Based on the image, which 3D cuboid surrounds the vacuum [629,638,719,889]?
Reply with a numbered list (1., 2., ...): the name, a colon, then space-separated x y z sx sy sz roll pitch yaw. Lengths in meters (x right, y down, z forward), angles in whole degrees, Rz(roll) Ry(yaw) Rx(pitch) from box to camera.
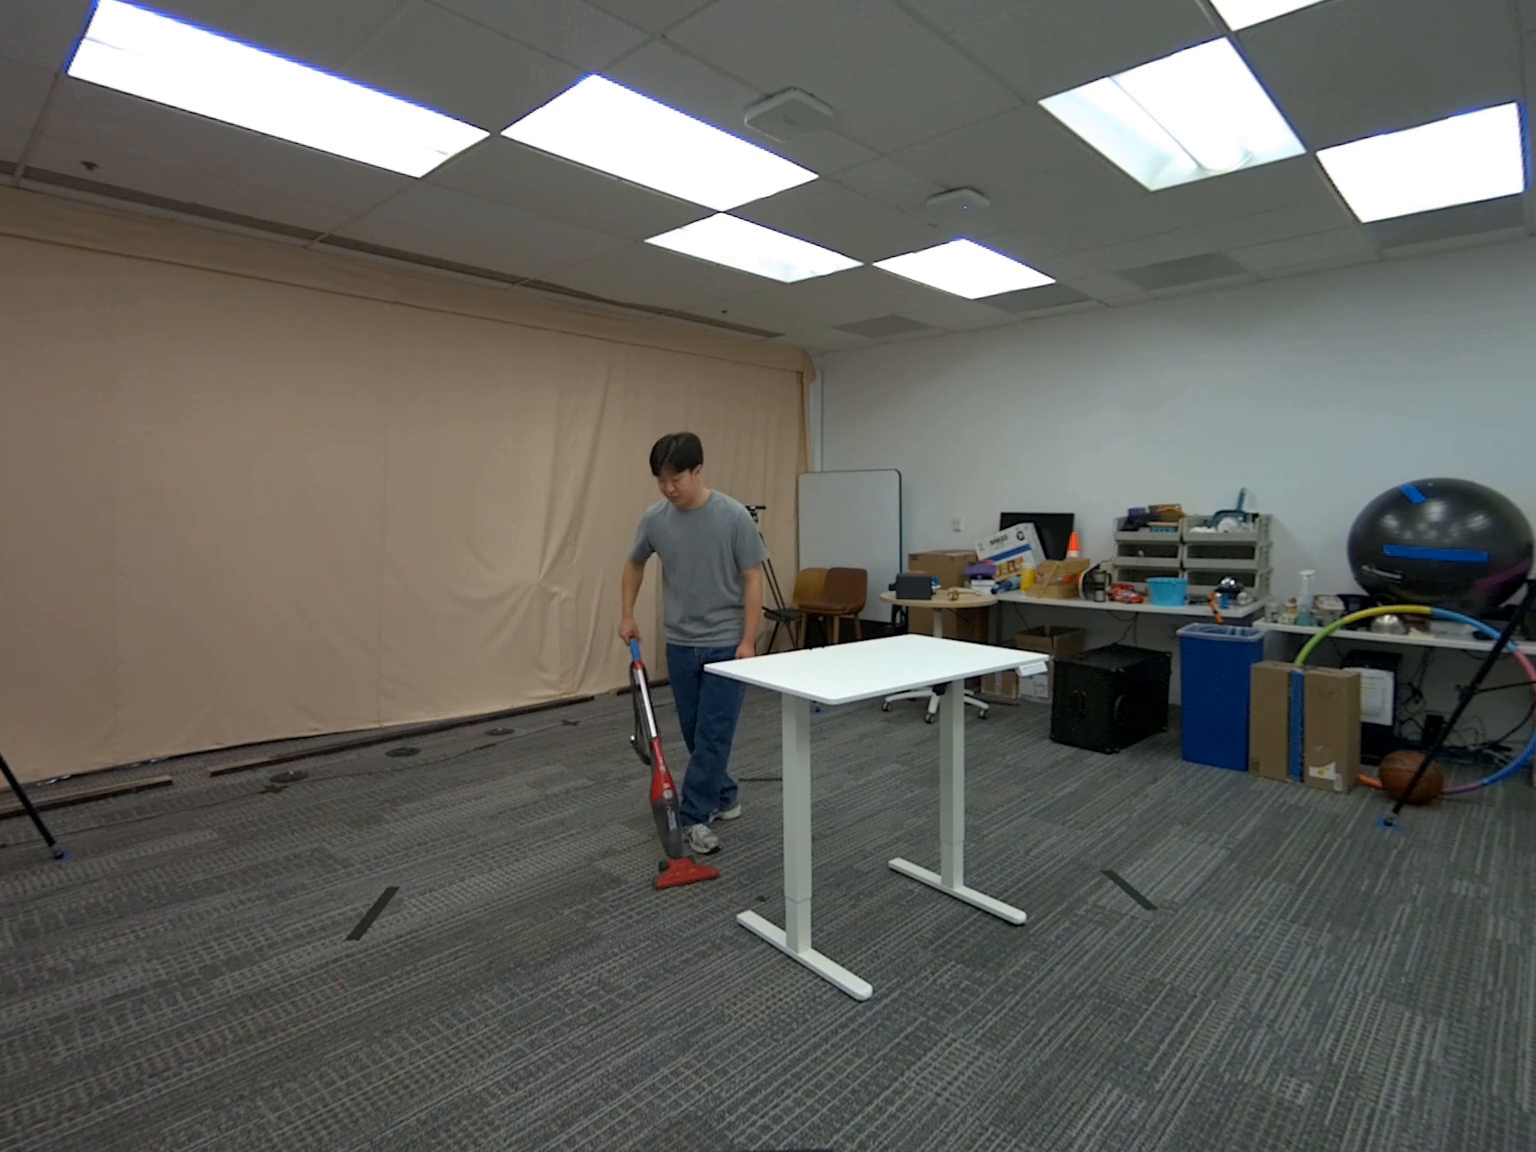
1. vacuum: -0.470 0.676 3.408 0.246 1.074 0.144 -2 -33 -30
